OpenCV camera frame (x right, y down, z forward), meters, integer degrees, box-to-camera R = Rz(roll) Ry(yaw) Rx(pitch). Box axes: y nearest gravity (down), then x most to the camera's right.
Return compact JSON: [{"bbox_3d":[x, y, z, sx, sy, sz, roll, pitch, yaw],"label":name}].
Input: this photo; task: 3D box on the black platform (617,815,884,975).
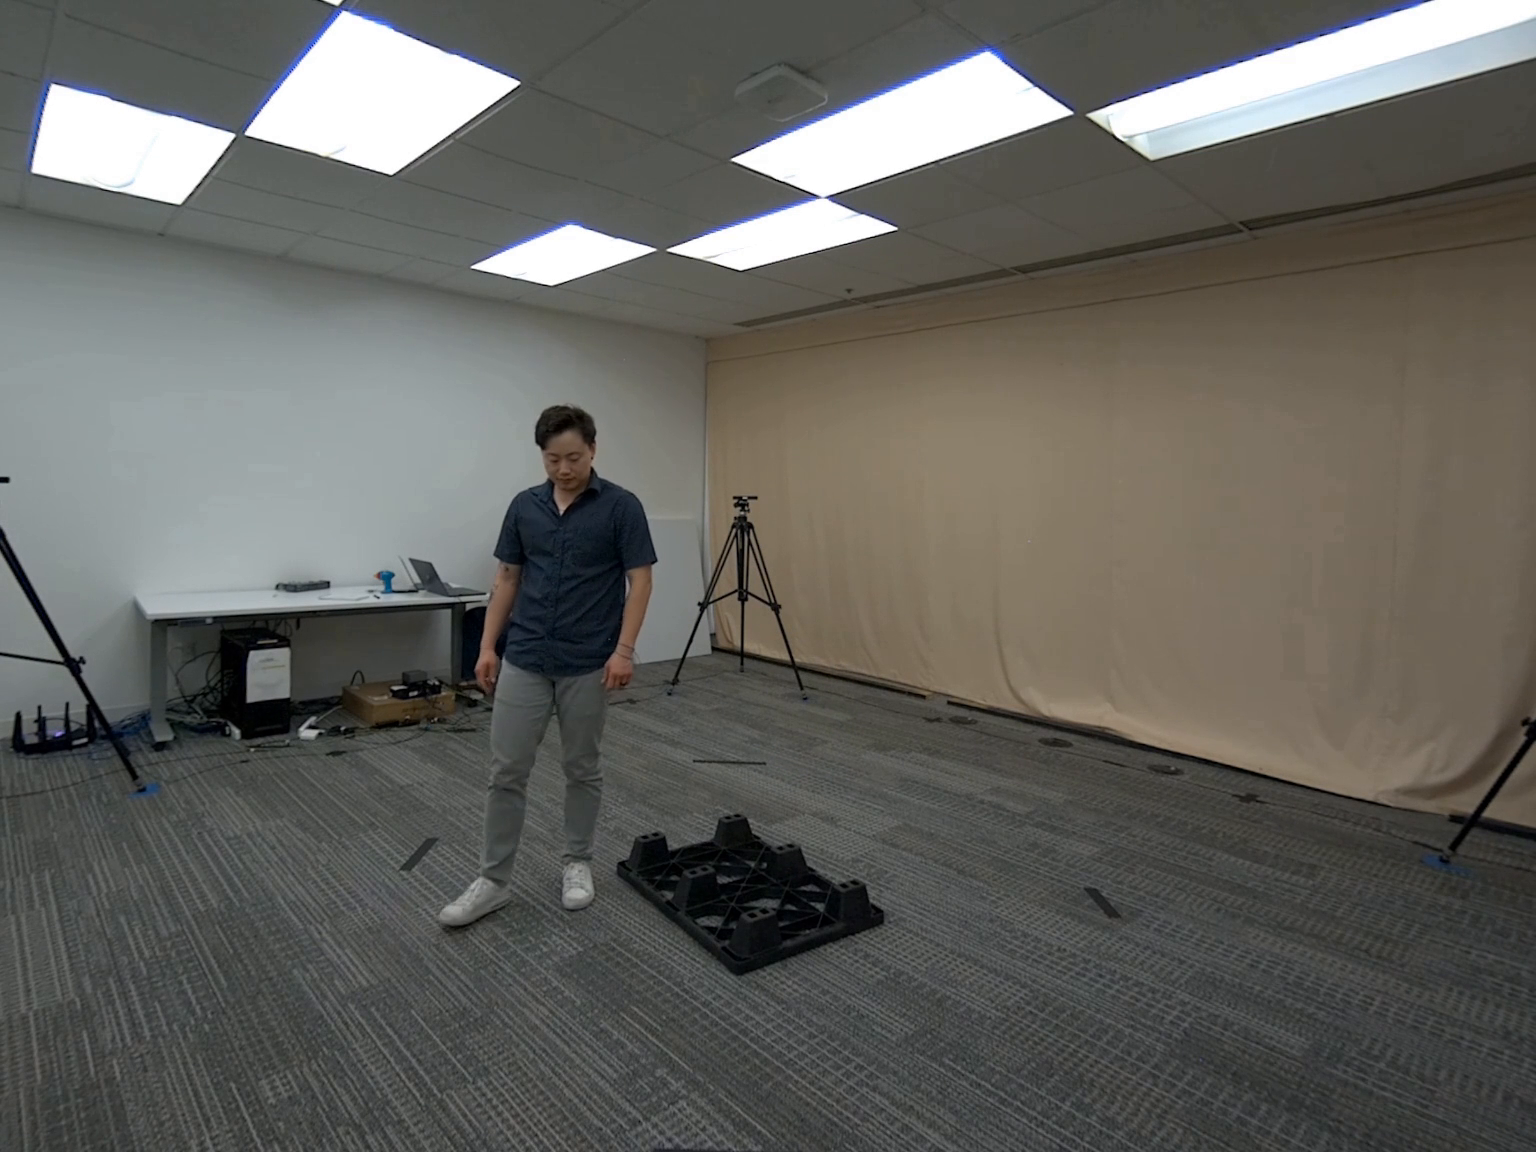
[{"bbox_3d":[-0.097,1.054,2.933,0.592,0.143,0.825,-2,6,-36],"label":"black platform"}]
